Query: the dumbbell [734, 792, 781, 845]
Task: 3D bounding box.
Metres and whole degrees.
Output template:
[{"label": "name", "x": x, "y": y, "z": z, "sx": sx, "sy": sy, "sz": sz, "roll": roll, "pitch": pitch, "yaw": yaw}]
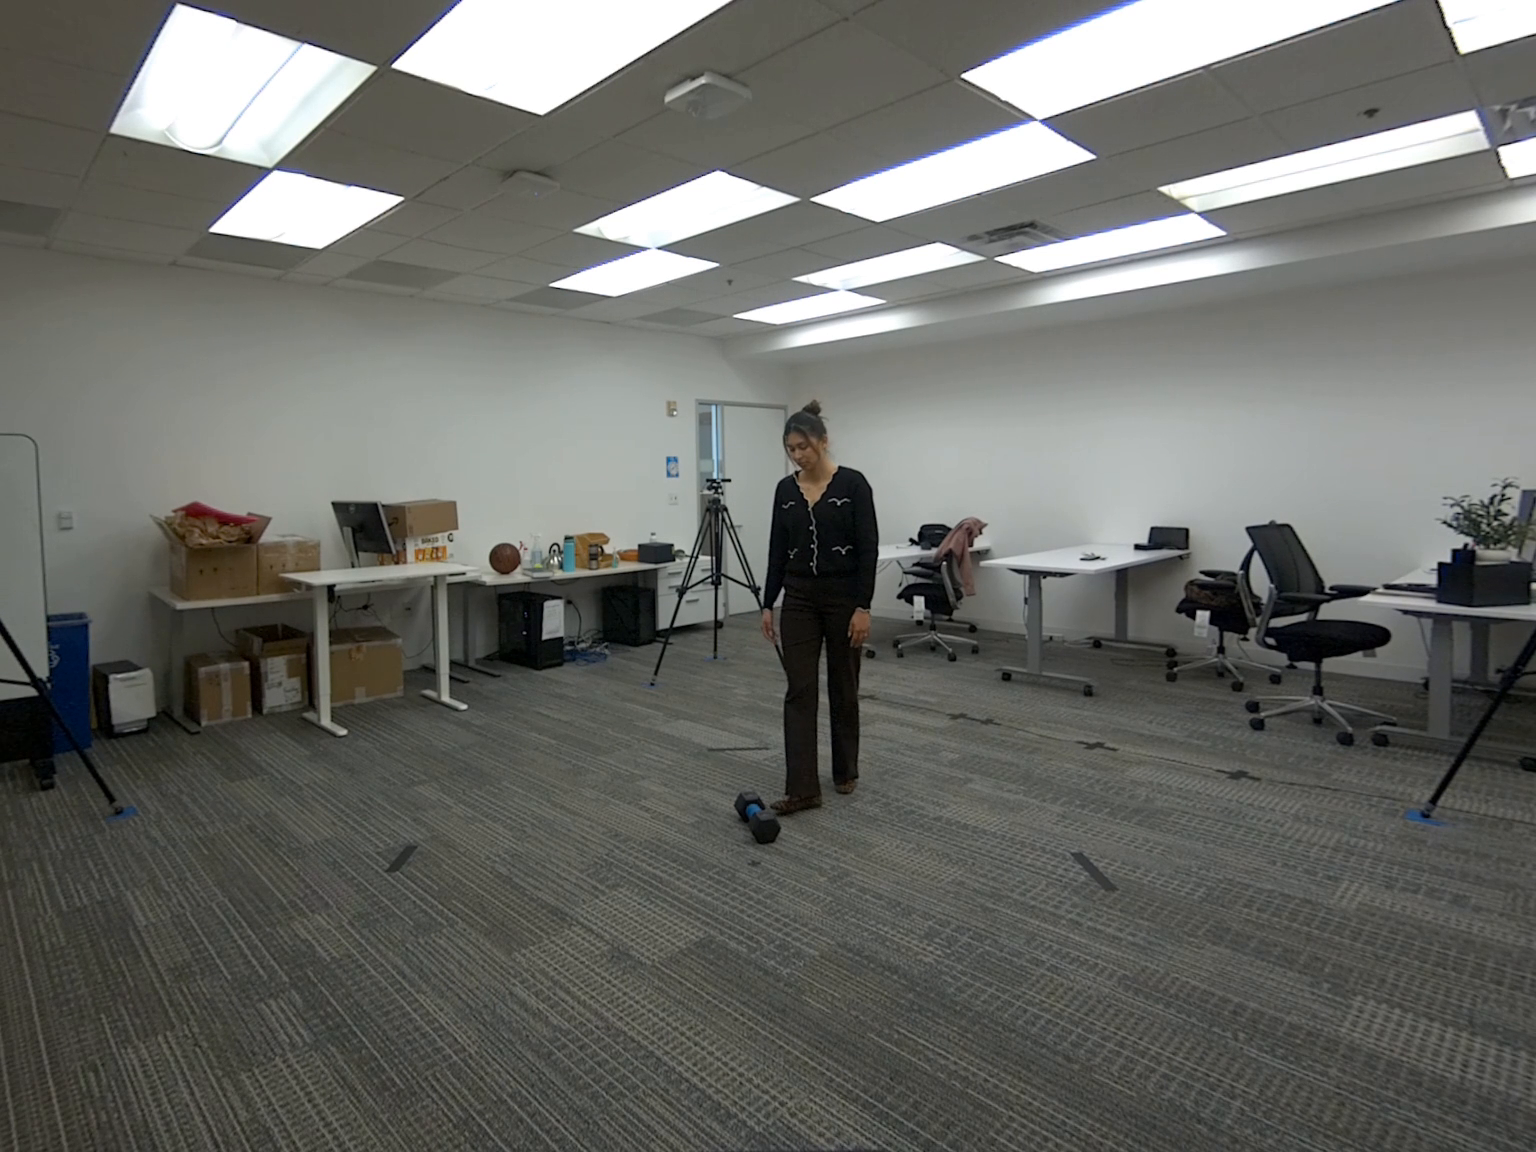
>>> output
[{"label": "dumbbell", "x": -0.041, "y": 0.959, "z": 3.402, "sx": 0.108, "sy": 0.121, "sz": 0.299, "roll": -33, "pitch": 13, "yaw": -10}]
